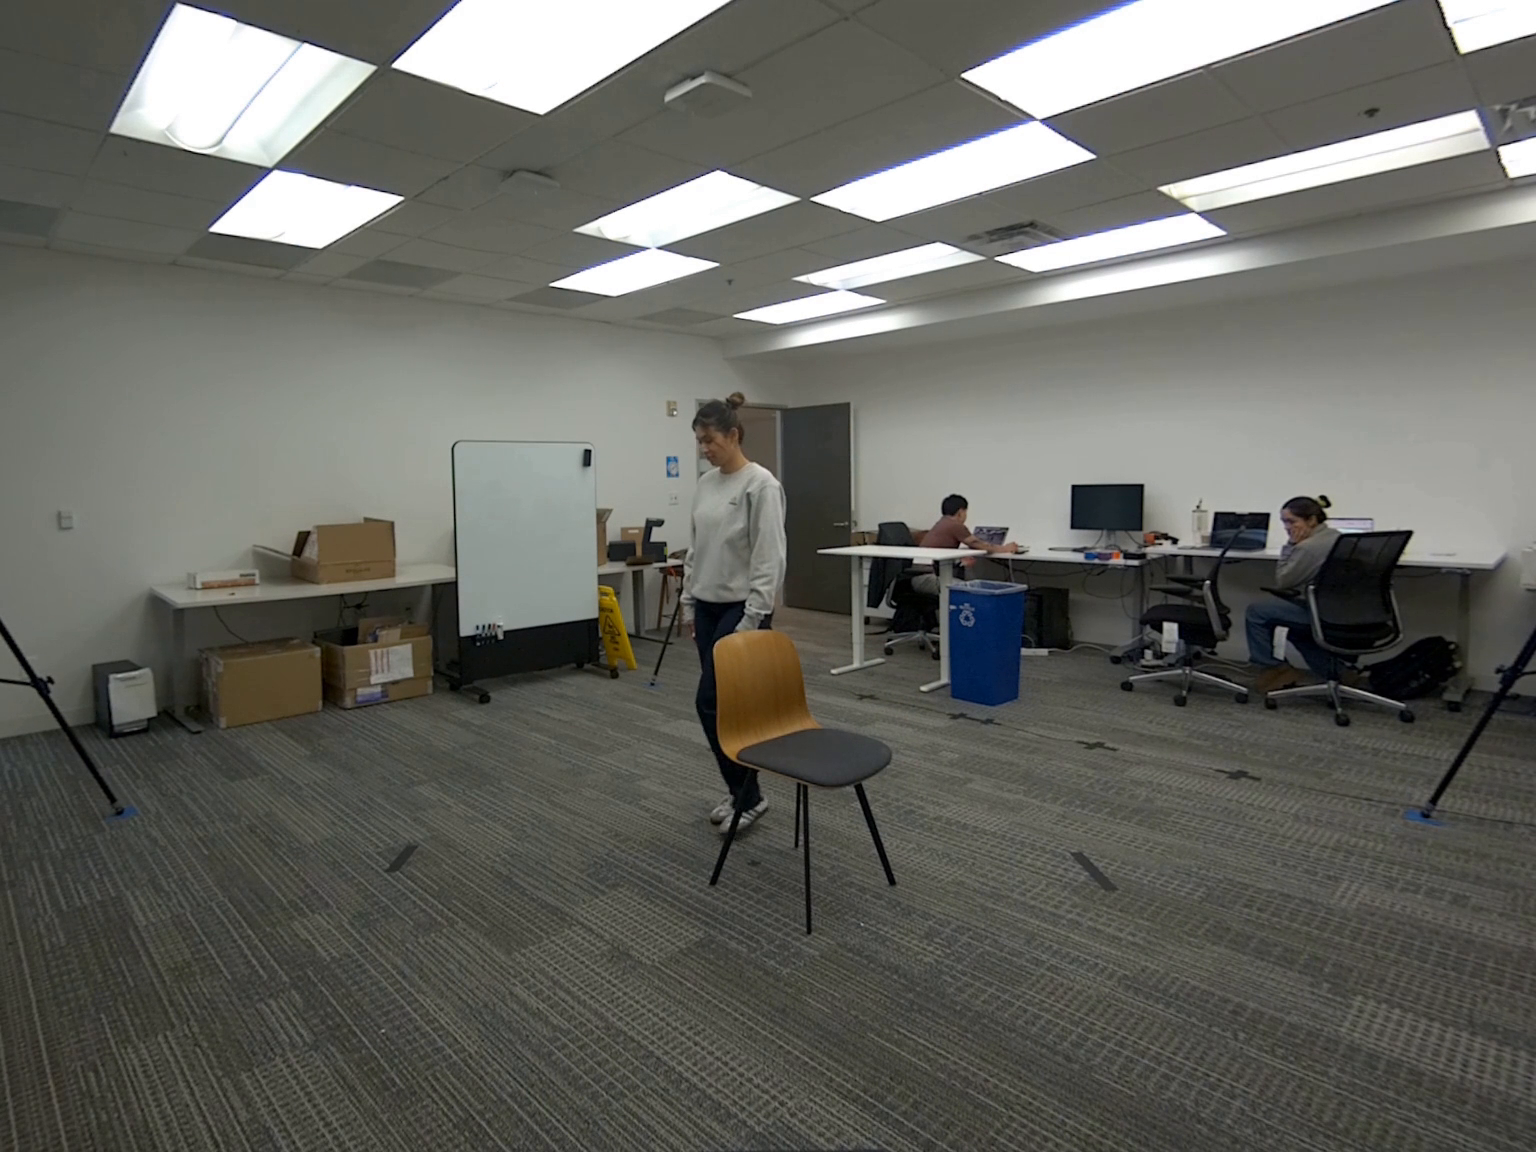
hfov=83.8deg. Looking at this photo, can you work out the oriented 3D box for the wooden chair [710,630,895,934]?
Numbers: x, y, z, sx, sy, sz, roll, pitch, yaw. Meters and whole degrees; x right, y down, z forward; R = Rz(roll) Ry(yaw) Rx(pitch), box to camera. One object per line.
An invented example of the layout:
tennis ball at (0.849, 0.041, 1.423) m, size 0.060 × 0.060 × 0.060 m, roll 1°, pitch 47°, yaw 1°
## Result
wooden chair at (0.120, 0.637, 2.895) m, size 0.465 × 0.877 × 0.538 m, roll -5°, pitch 1°, yaw -45°
